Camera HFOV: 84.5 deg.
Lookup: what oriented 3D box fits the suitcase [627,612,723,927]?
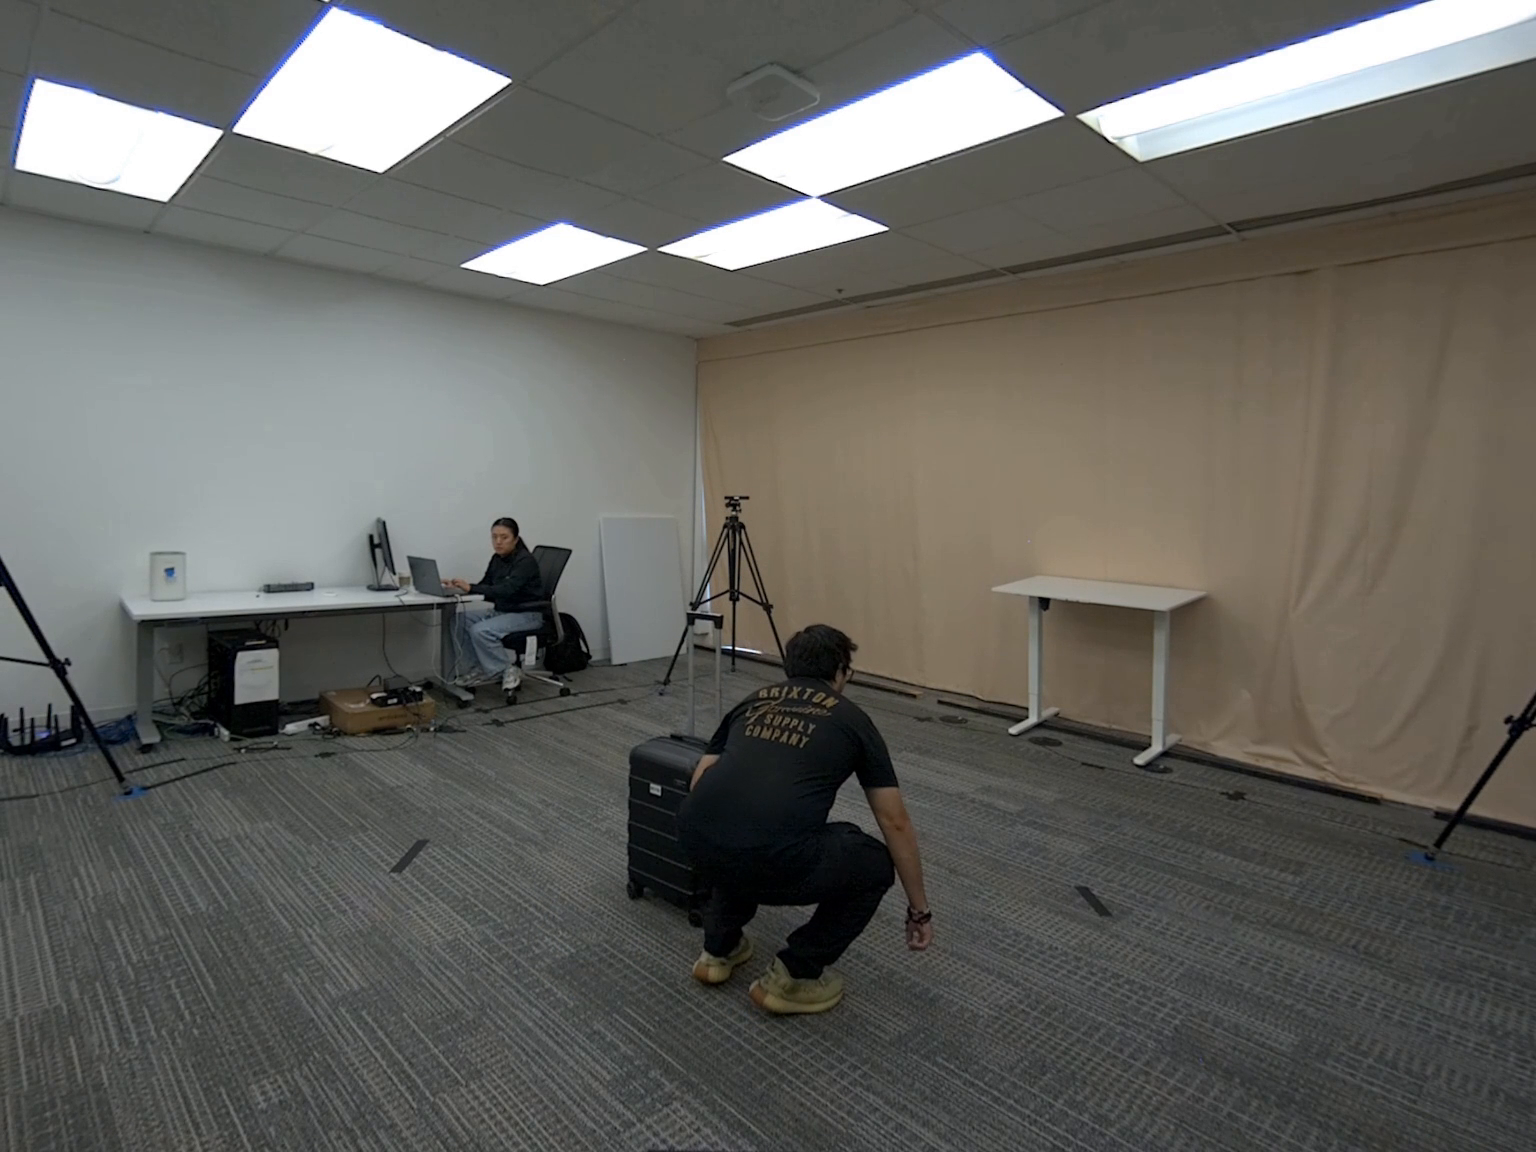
[{"bbox_3d":[-0.304,0.641,2.897,0.393,0.976,0.251,2,4,38],"label":"suitcase"}]
